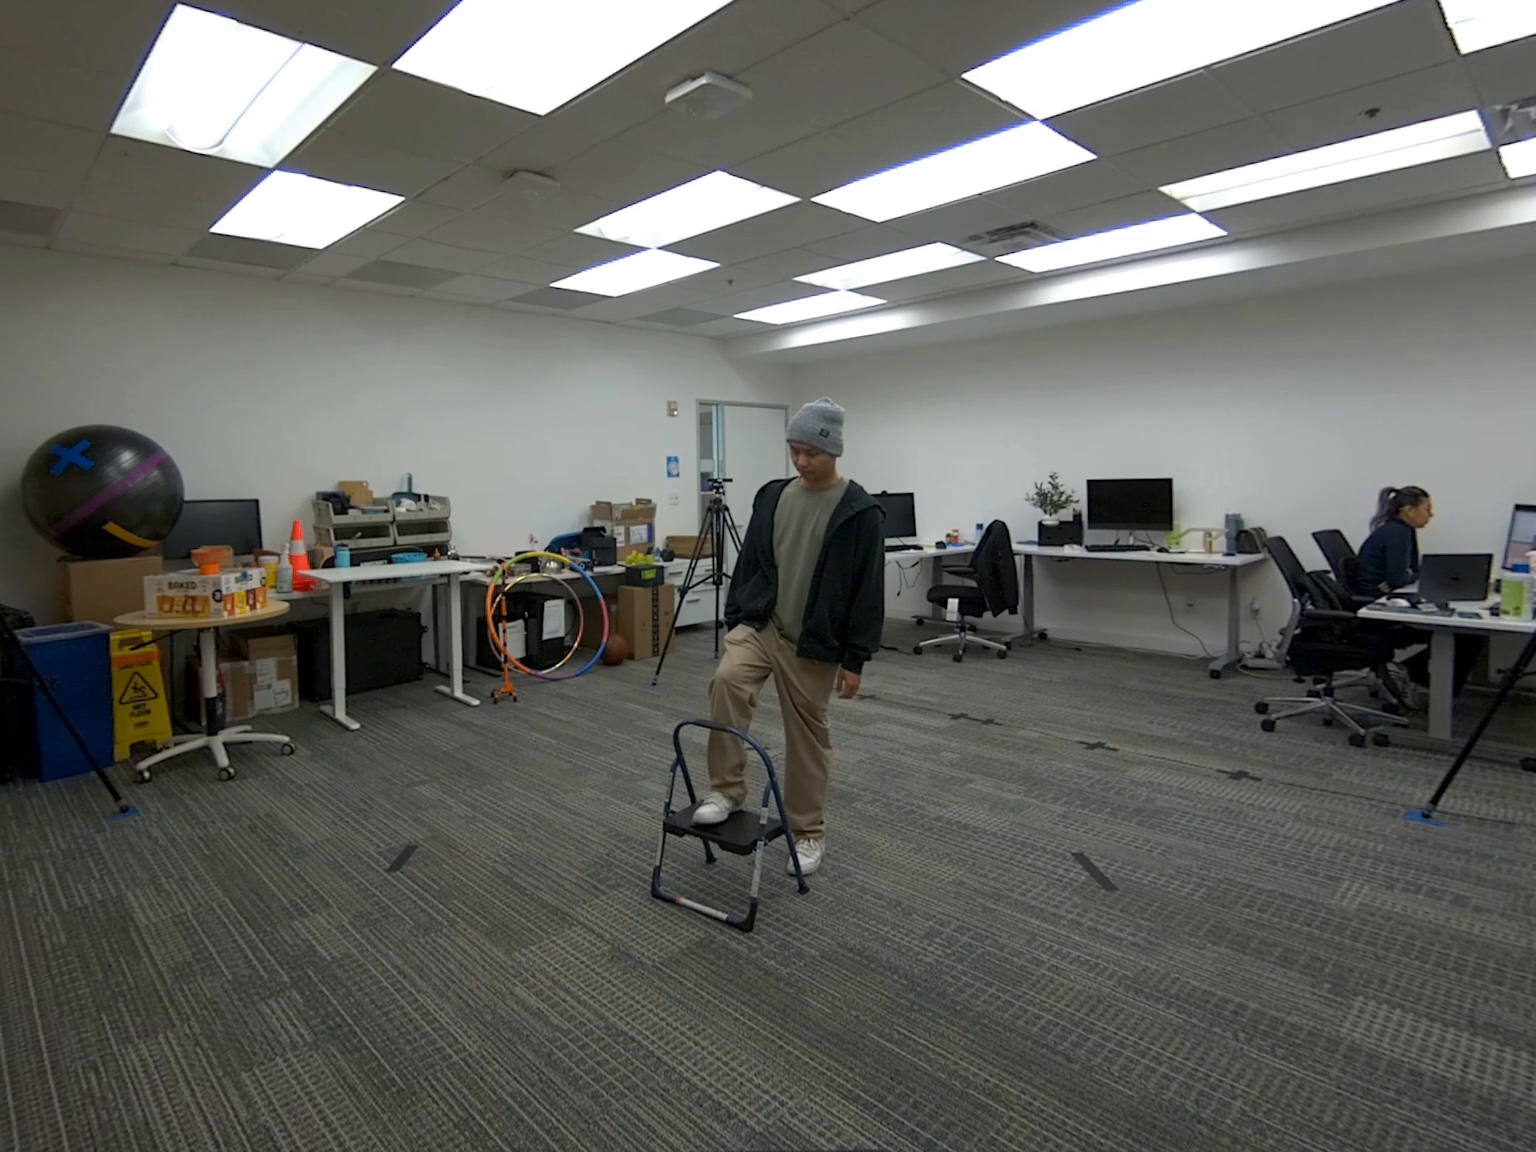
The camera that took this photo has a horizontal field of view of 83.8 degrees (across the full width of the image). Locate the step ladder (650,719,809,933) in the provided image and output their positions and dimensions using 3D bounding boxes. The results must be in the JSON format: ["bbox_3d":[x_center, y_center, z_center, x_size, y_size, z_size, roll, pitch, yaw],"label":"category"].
[{"bbox_3d":[-0.135,0.771,2.864,0.443,0.604,0.341,2,6,35],"label":"step ladder"}]
